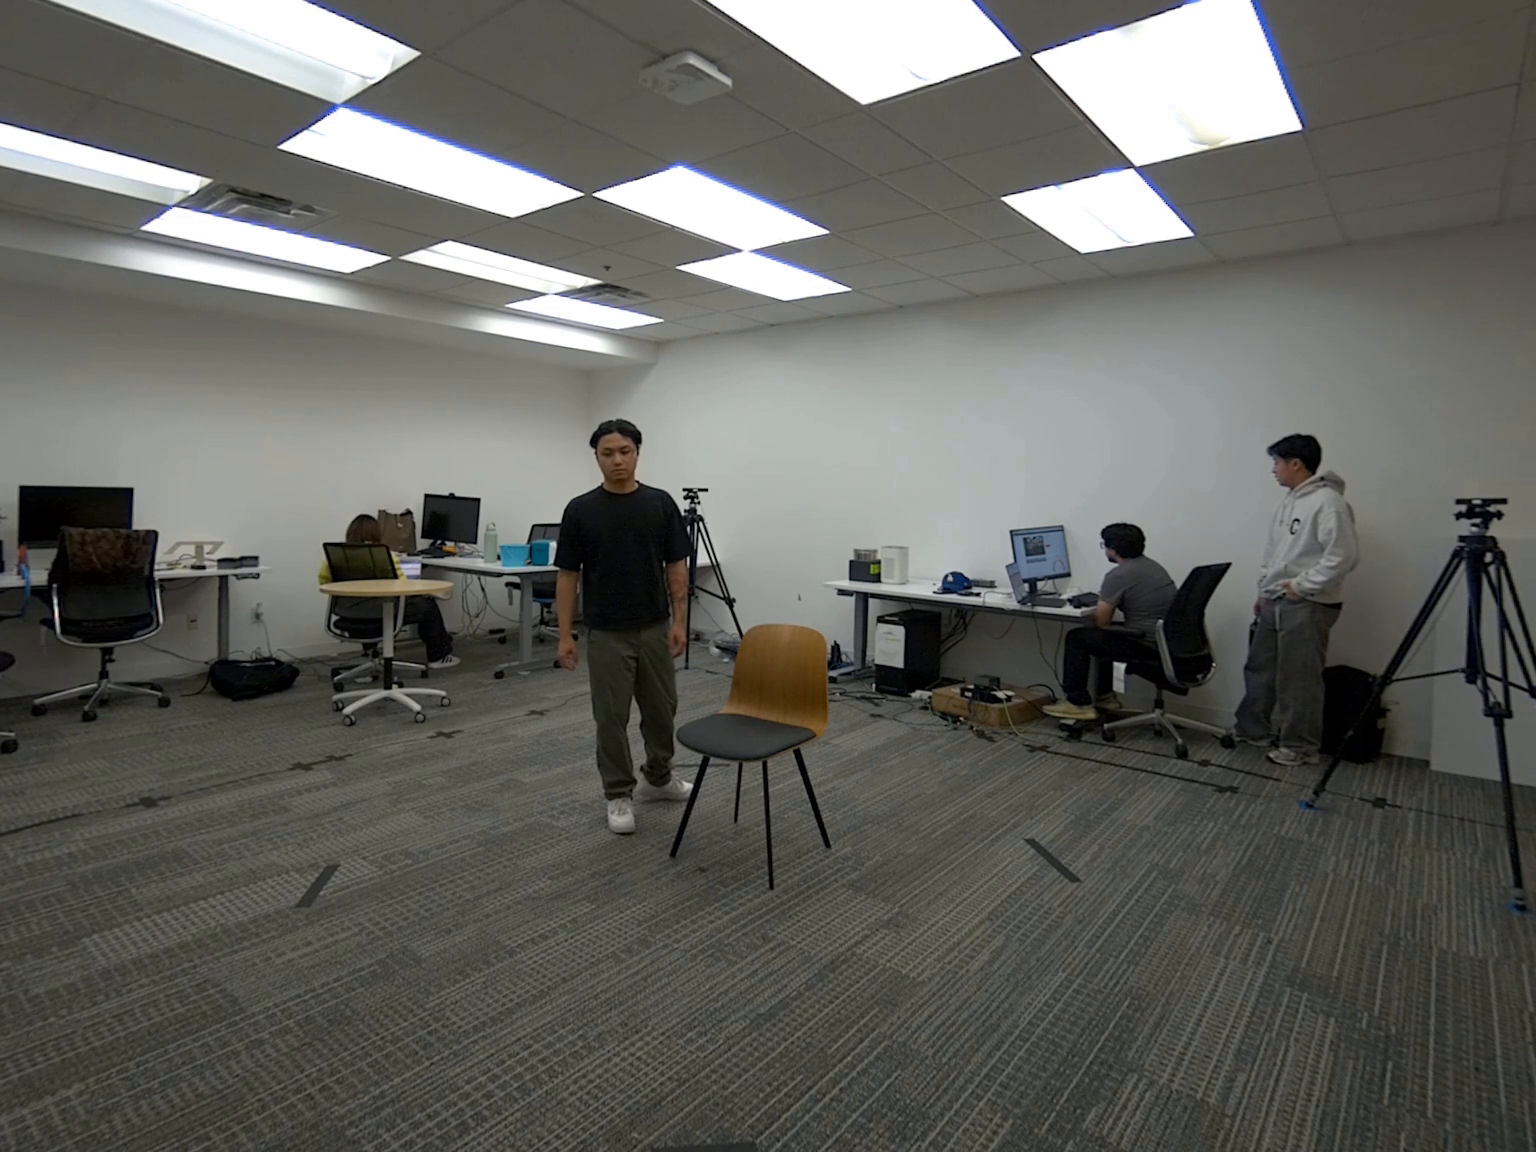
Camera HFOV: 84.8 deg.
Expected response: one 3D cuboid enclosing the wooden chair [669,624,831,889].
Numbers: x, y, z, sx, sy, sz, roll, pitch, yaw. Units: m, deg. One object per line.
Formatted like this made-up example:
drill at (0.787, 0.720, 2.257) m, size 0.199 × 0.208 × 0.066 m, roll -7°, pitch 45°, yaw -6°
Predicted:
wooden chair at (-0.063, 0.632, 3.232) m, size 0.493 × 0.878 × 0.507 m, roll 4°, pitch 0°, yaw 33°
